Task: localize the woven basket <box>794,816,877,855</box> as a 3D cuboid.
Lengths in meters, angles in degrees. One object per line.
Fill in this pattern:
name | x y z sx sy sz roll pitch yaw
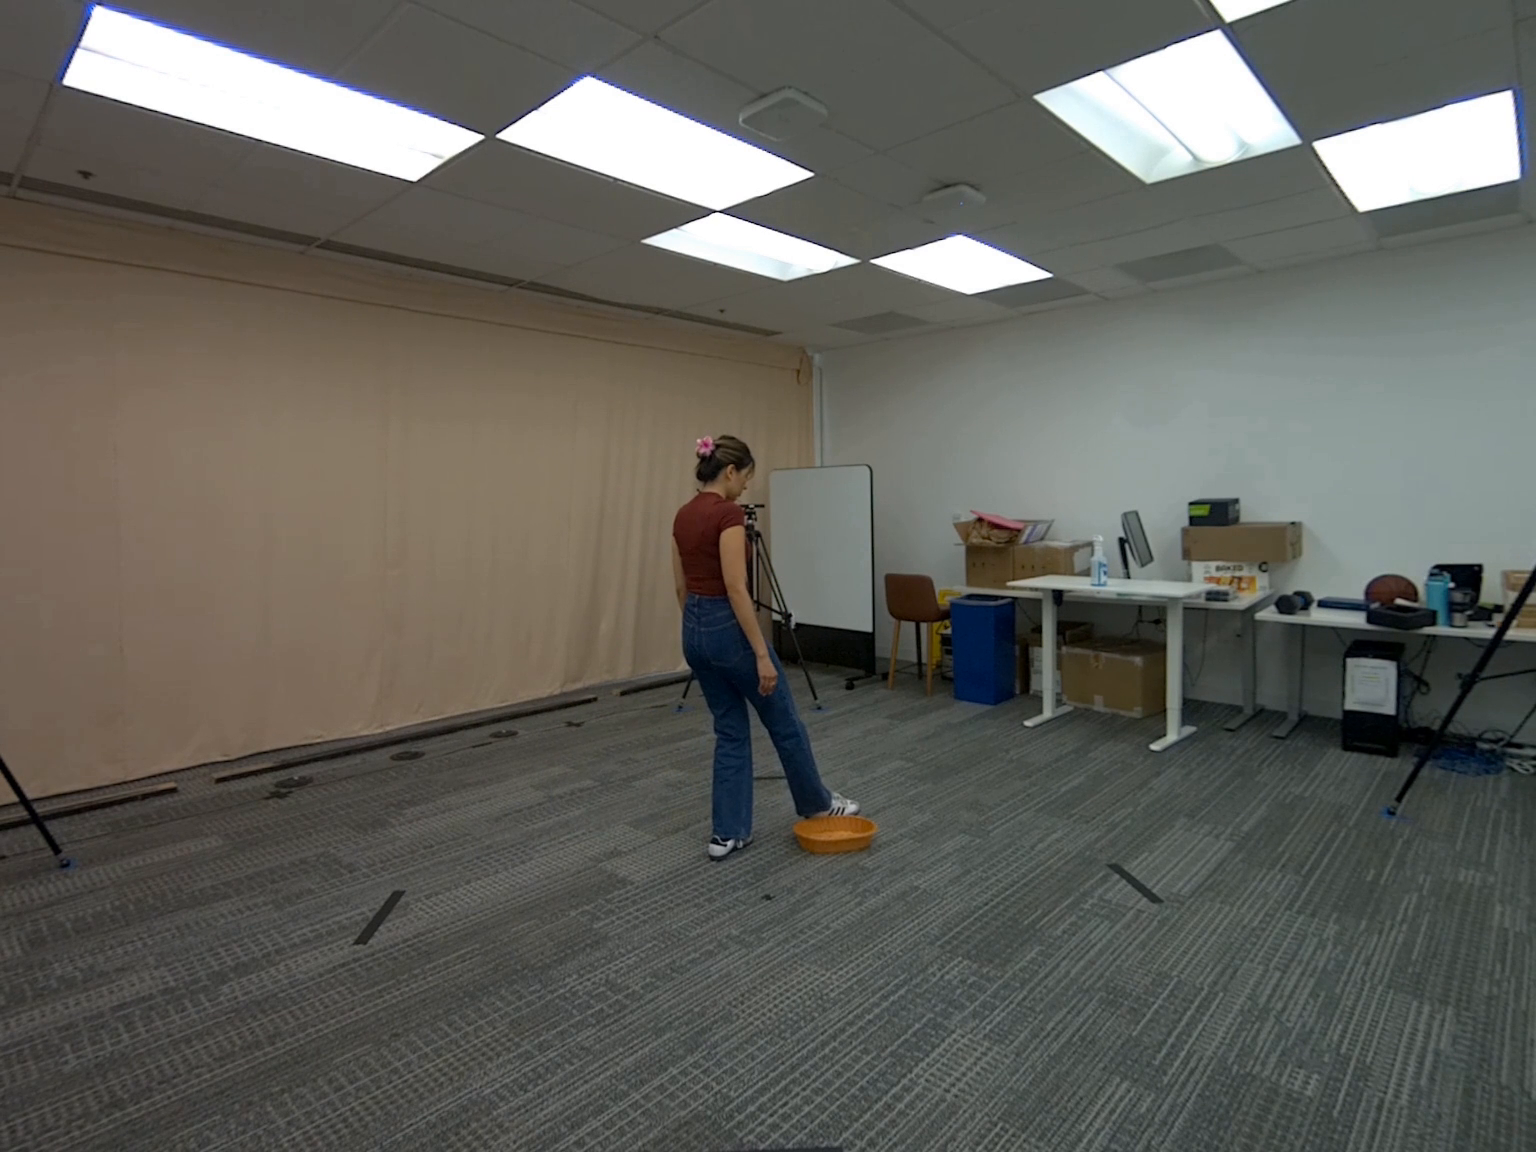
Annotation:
woven basket | 0.269 1.051 3.440 0.346 0.073 0.256 -2 3 -11
